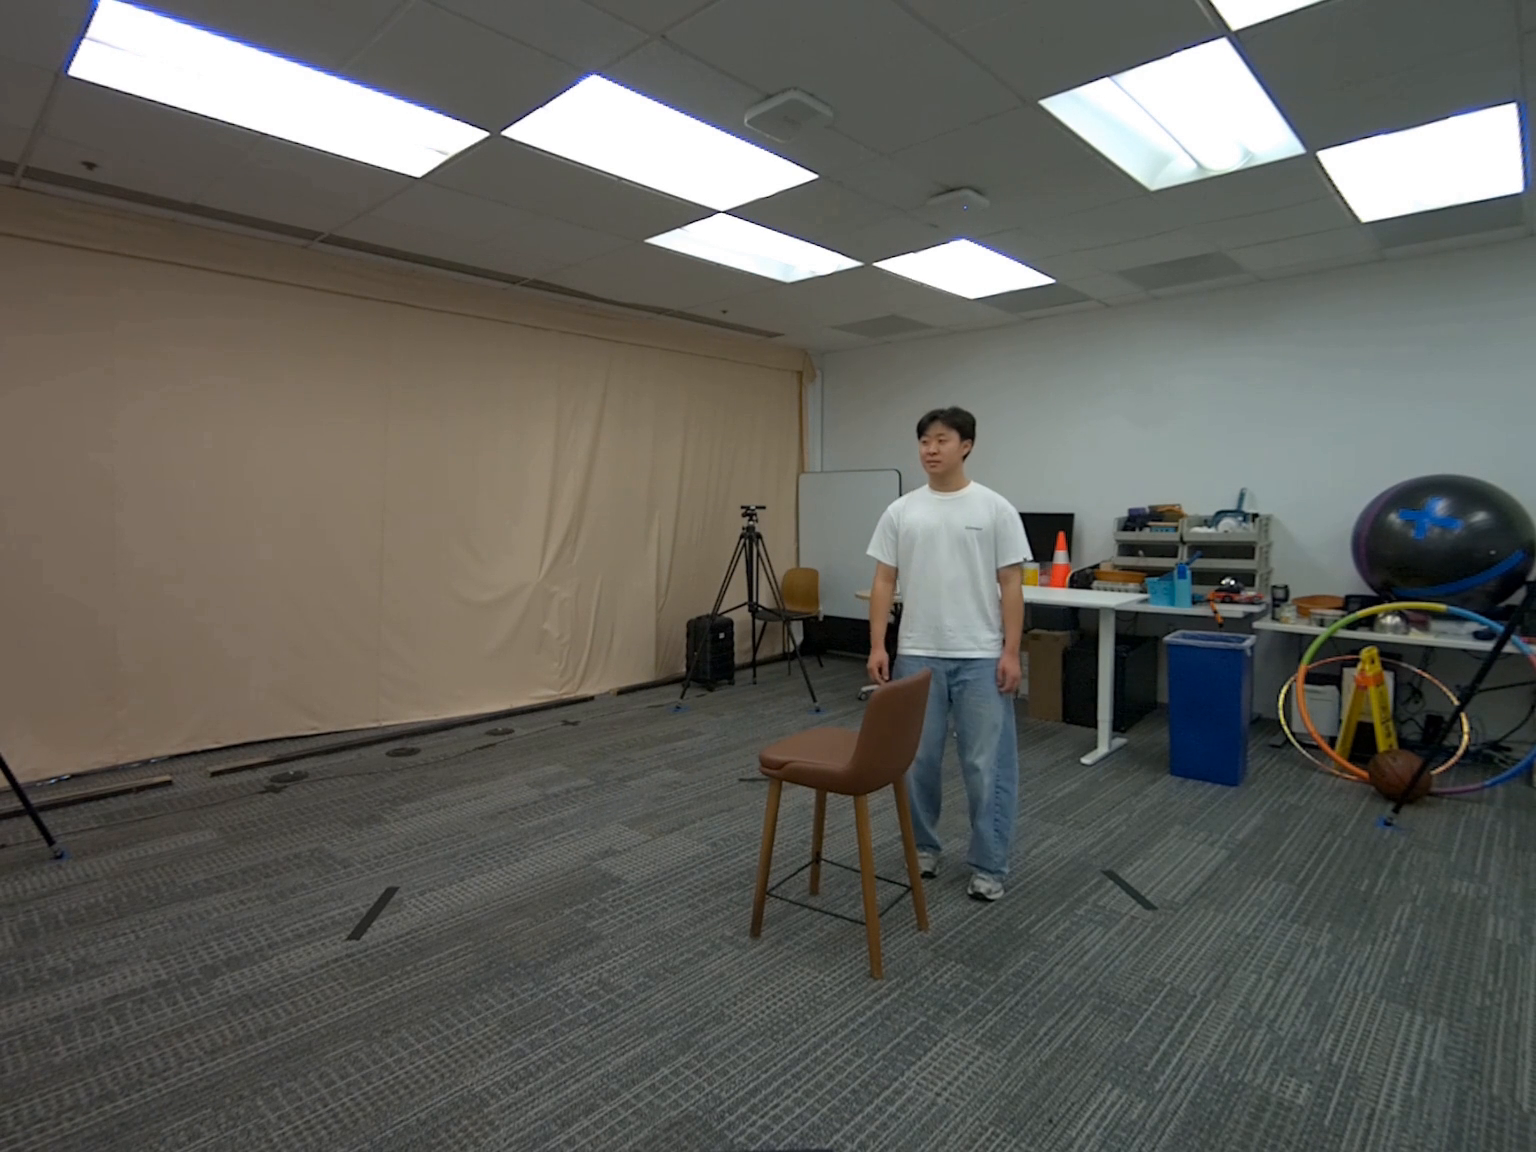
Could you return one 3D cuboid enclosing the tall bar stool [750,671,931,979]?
[{"bbox_3d":[0.246,0.730,2.719,0.483,0.887,0.443,5,6,35],"label":"tall bar stool"}]
